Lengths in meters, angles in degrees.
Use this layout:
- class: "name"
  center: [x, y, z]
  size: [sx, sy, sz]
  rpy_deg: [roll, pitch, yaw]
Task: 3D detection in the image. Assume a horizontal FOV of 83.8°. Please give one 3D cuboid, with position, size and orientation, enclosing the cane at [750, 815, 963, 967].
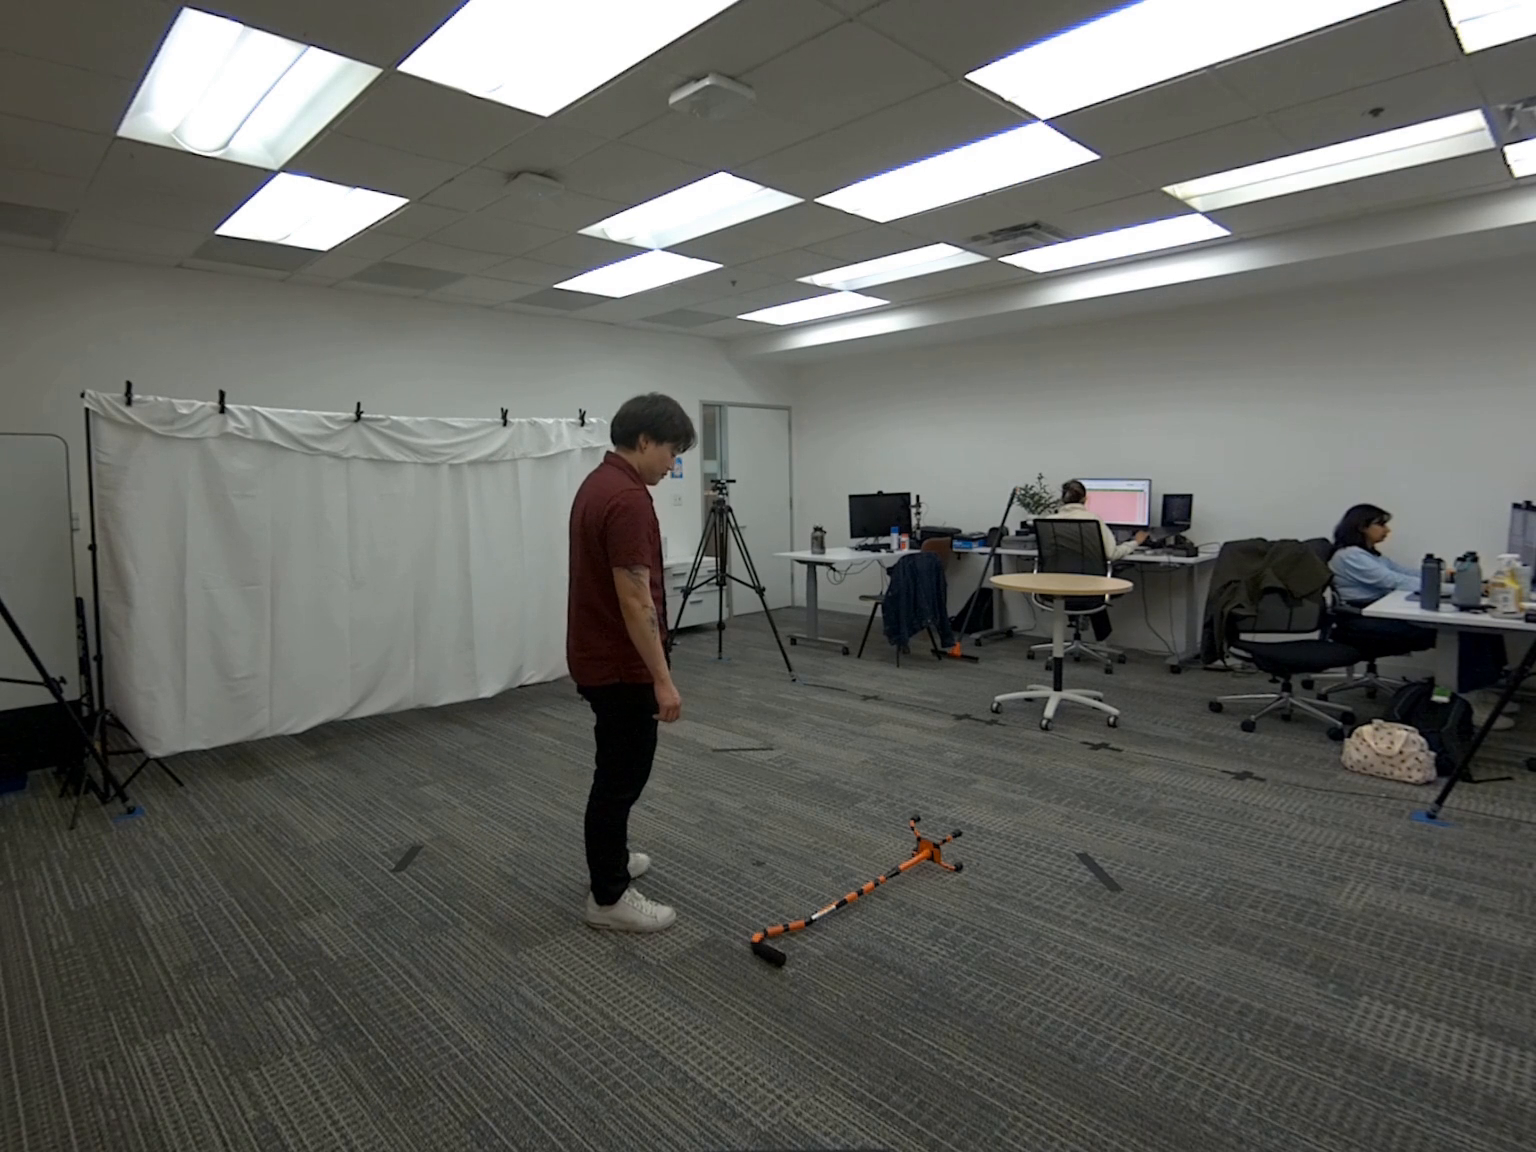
- class: "cane"
  center: [0.300, 1.025, 2.797]
  size: [0.886, 0.150, 0.213]
  rpy_deg: [-12, 10, -42]
